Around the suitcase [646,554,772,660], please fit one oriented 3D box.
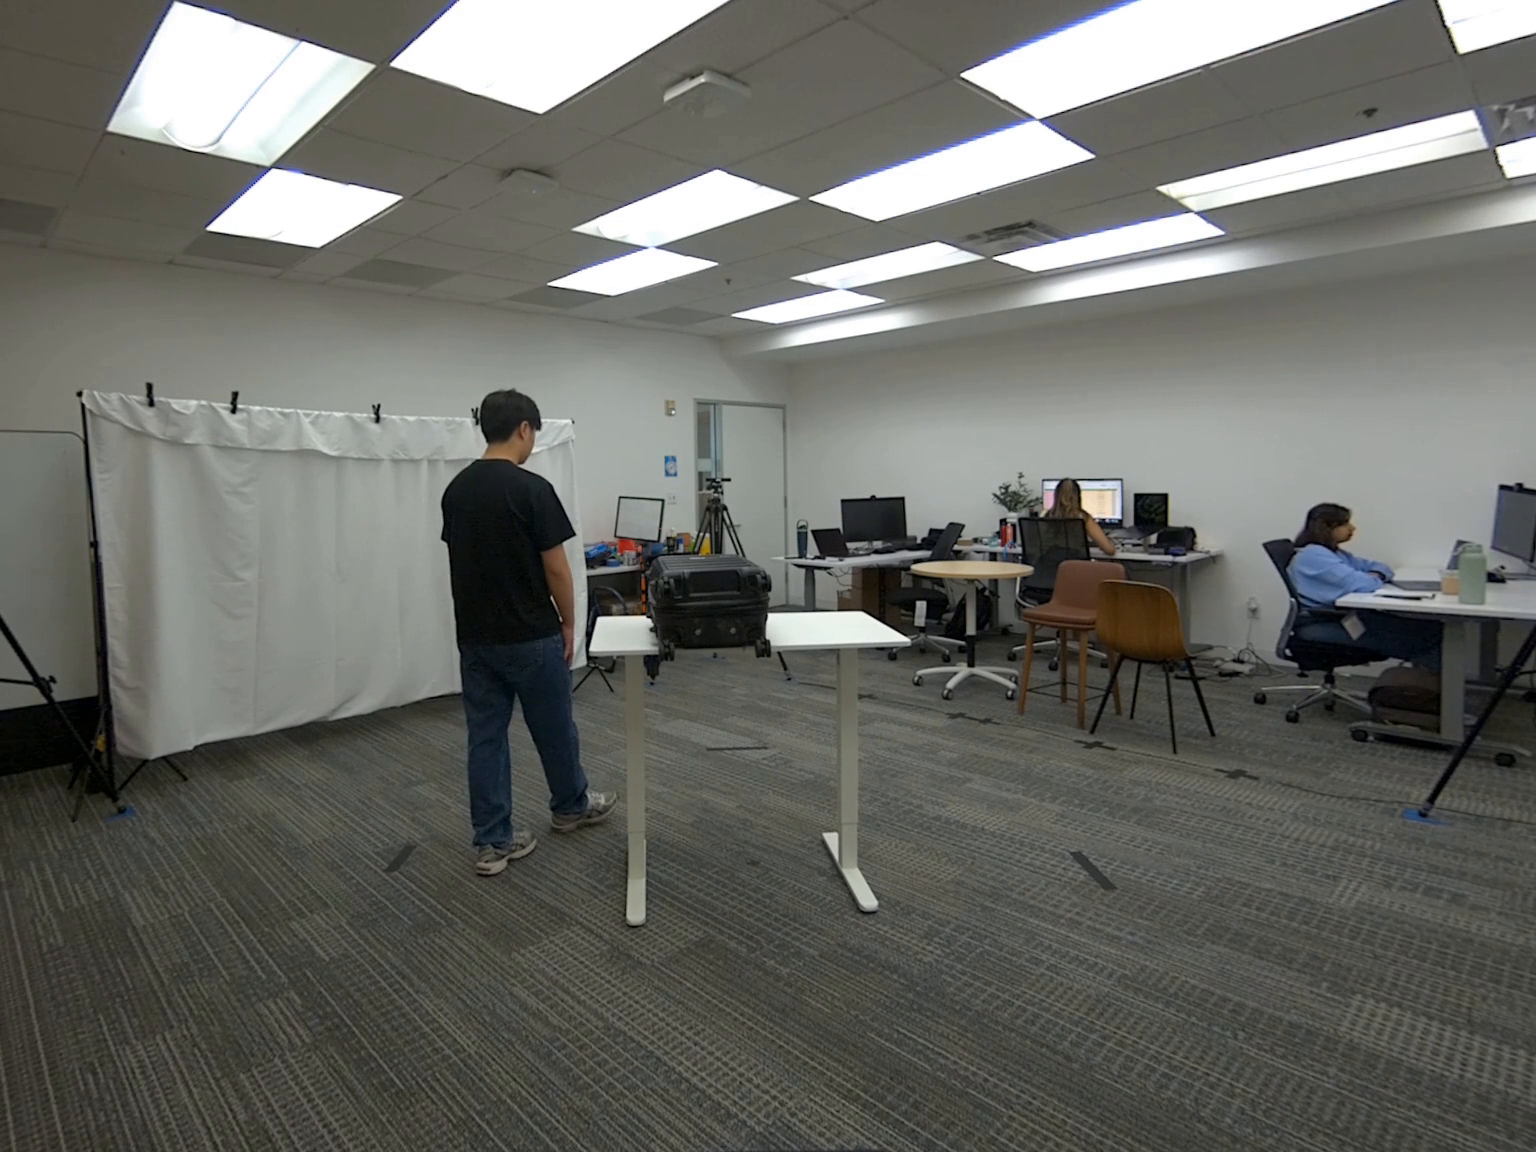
[{"bbox_3d":[-0.245,0.054,2.992,0.380,0.255,0.995,-2,9,-11],"label":"suitcase"}]
